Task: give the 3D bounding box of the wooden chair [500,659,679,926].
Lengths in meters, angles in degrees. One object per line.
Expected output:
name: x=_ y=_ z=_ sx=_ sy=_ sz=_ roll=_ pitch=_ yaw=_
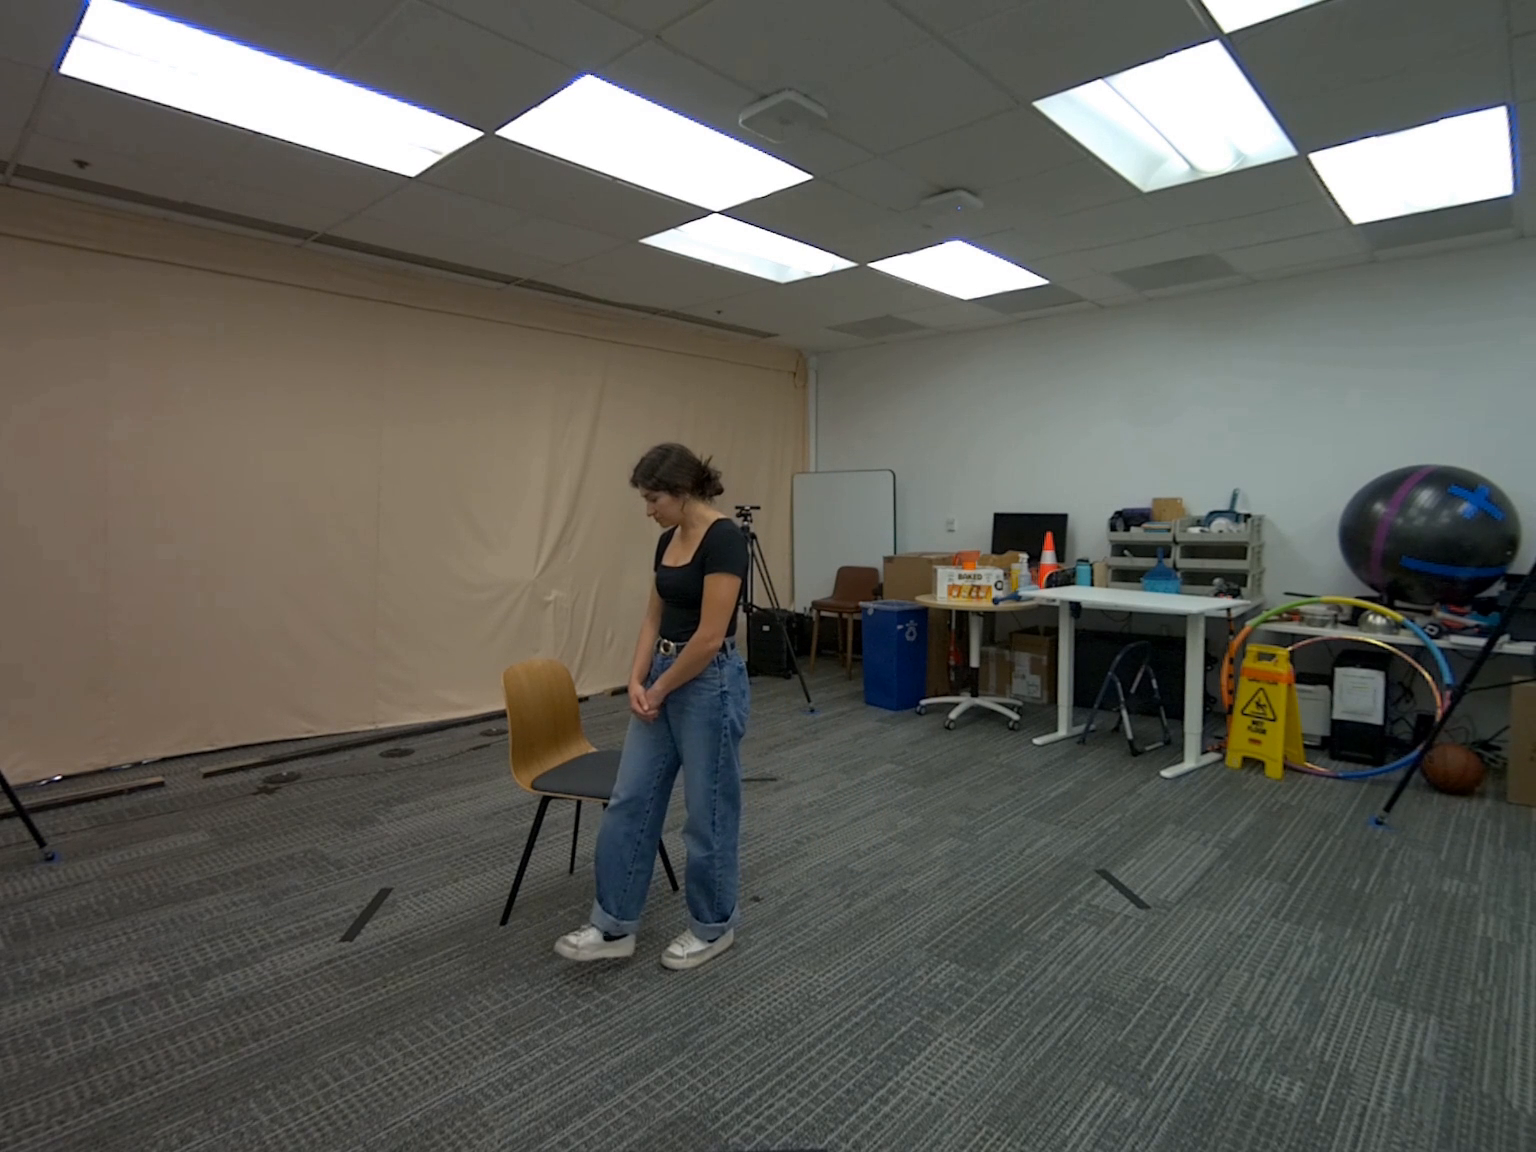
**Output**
wooden chair: x=-0.603 y=0.729 z=2.901 sx=0.534 sy=0.877 sz=0.468 roll=-4 pitch=1 yaw=21
